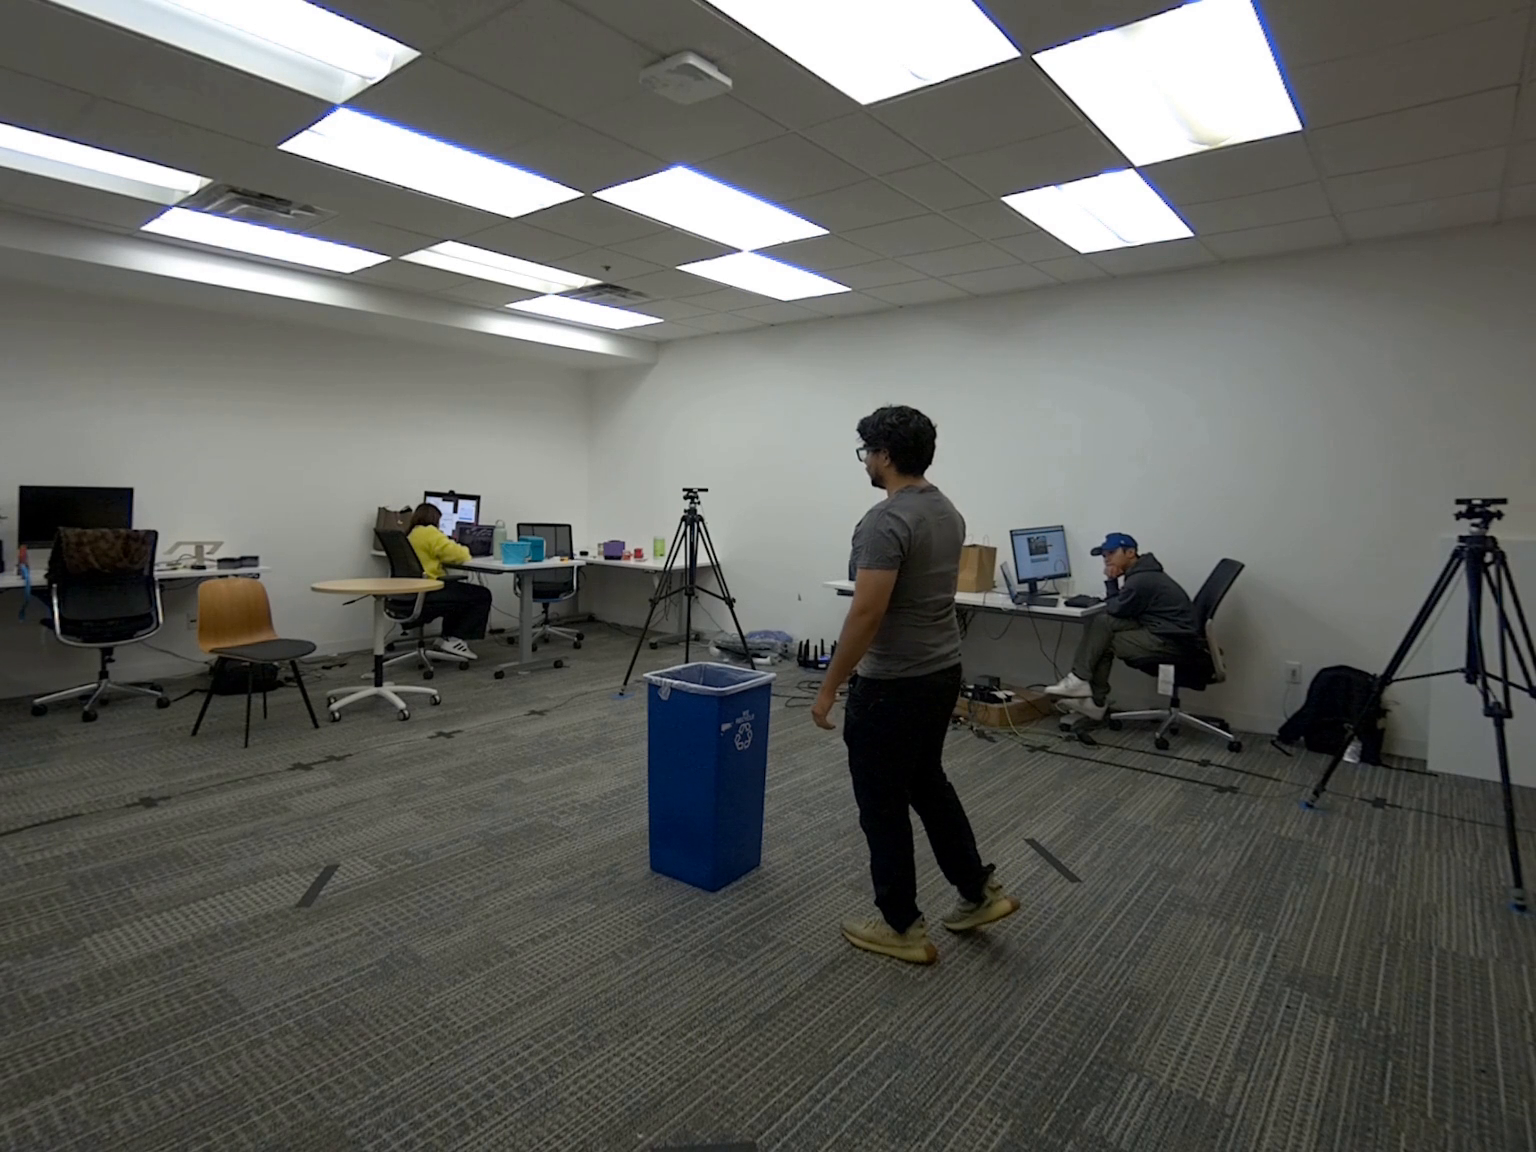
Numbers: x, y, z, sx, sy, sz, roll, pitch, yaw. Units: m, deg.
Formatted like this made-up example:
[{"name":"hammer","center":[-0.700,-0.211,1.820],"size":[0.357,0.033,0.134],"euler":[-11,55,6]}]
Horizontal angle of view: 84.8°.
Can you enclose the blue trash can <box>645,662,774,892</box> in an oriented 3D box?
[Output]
[{"name":"blue trash can","center":[-0.230,0.710,3.124],"size":[0.390,0.711,0.363],"euler":[3,4,35]}]
